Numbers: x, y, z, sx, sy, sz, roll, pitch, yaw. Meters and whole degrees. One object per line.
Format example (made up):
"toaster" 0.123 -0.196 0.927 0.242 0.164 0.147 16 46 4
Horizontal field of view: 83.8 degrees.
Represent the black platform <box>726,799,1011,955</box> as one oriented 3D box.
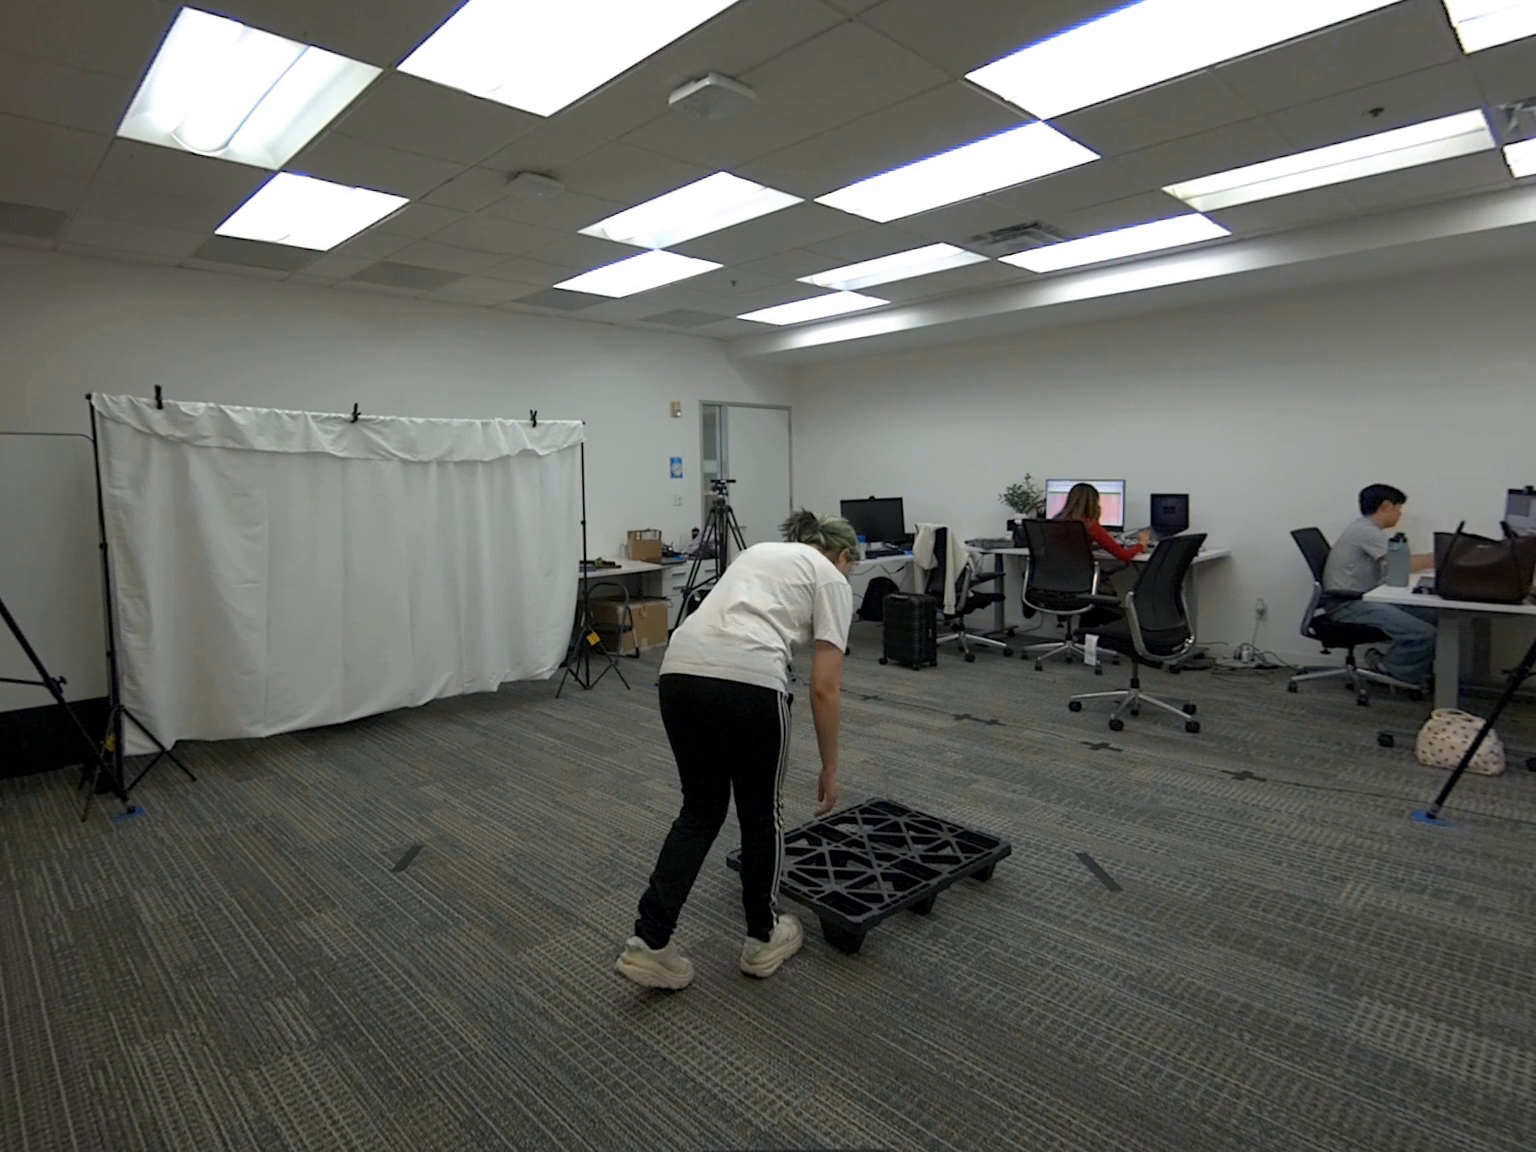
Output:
"black platform" 0.356 0.997 2.909 0.785 0.142 0.624 -7 9 -41
